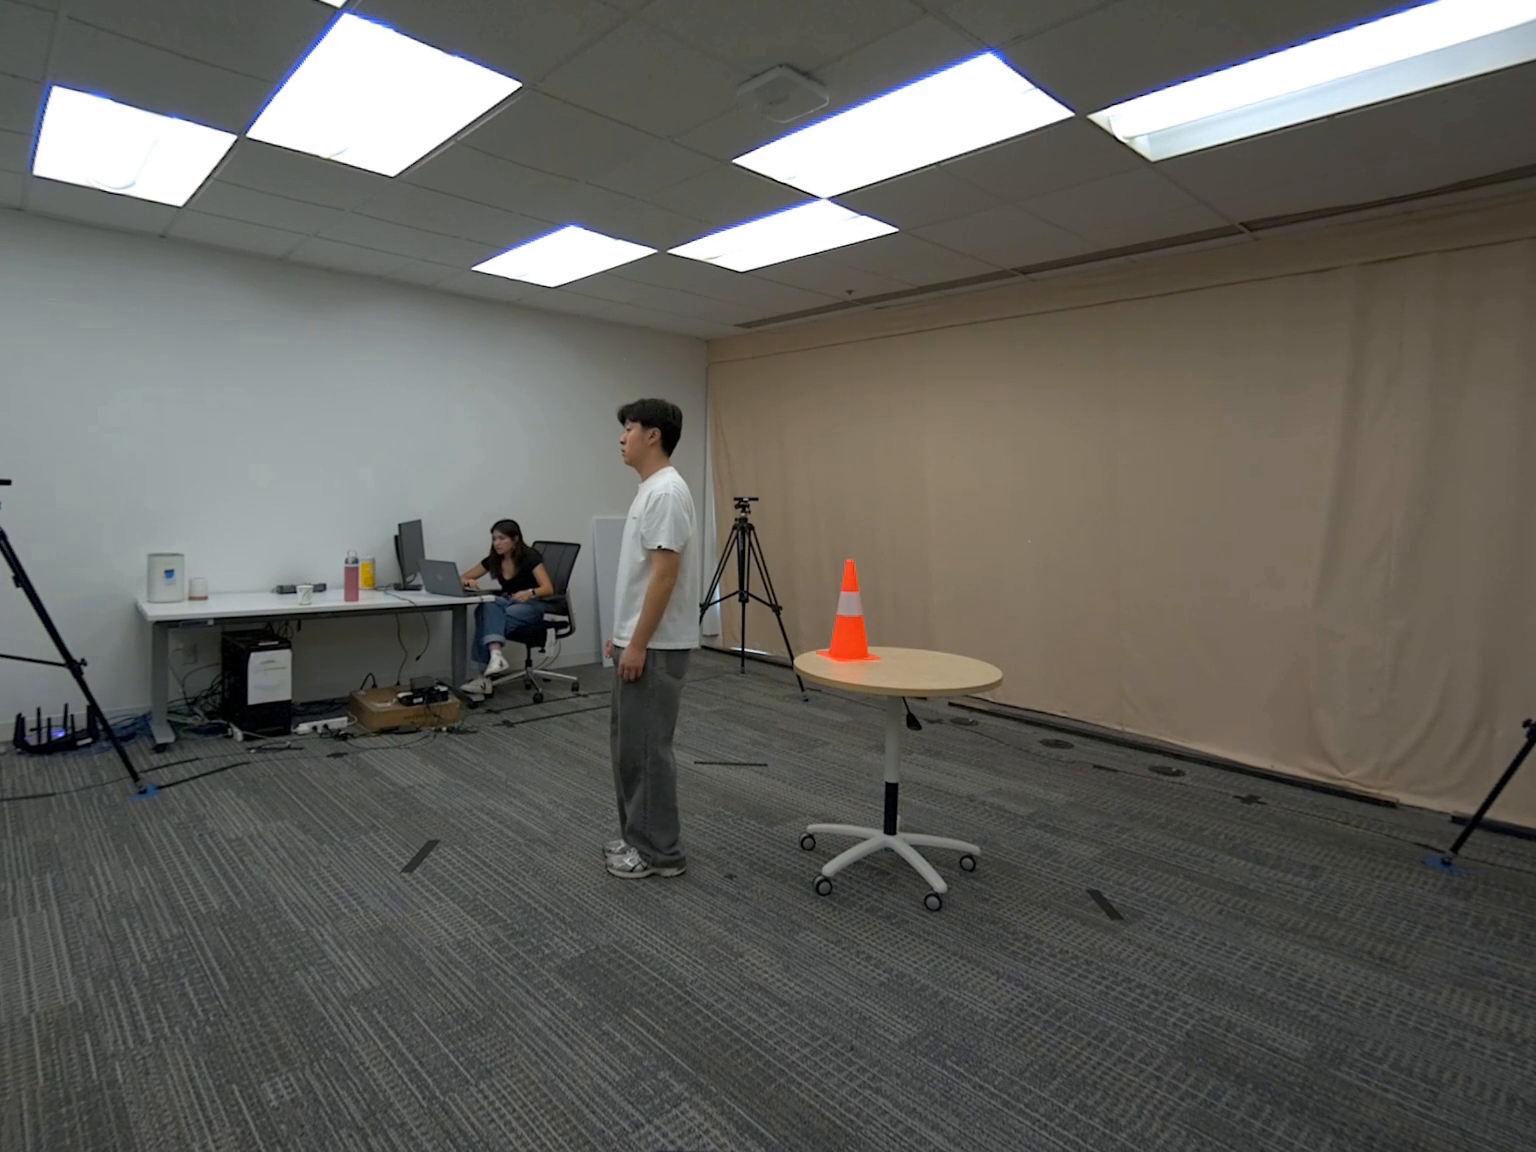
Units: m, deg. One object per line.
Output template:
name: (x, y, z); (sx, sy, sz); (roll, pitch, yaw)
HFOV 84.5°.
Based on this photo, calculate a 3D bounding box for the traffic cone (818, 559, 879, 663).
traffic cone: (0.300, 0.131, 3.299); (0.199, 0.382, 0.210); (-3, 8, -28)
